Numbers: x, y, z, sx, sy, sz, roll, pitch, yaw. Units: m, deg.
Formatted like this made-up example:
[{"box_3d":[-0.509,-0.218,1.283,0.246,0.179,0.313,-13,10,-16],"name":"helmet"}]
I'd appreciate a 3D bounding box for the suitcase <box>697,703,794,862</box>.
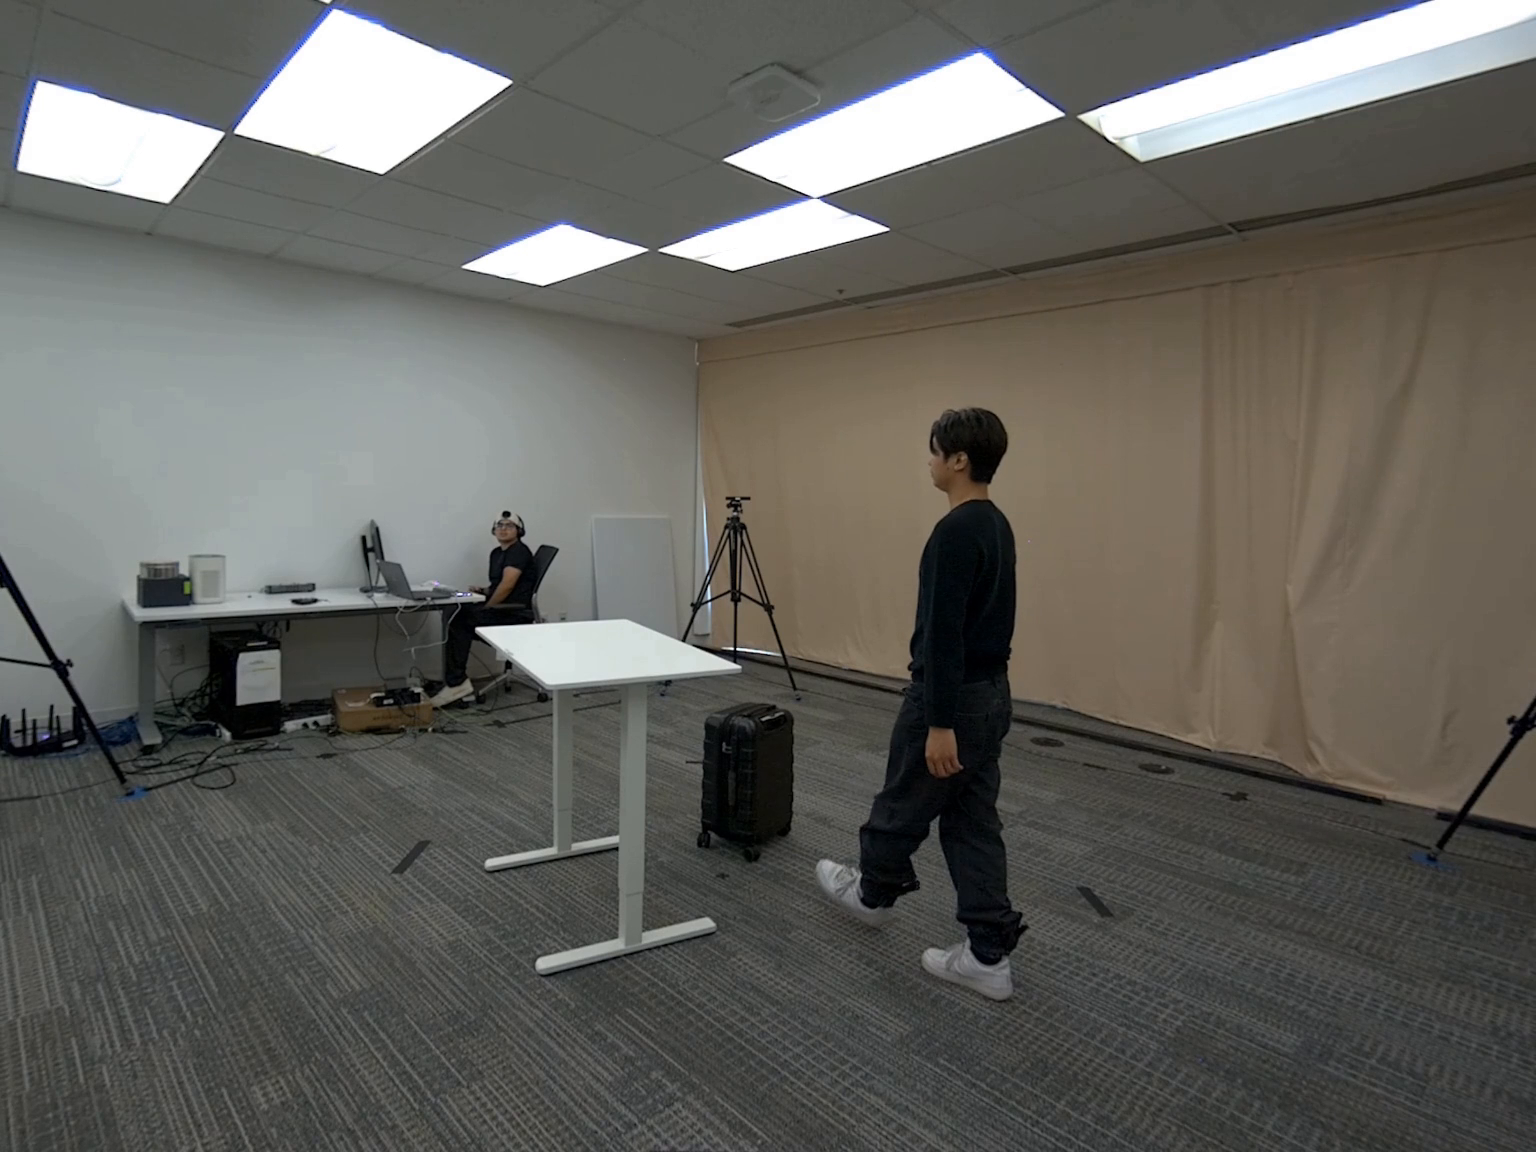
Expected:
[{"box_3d":[-0.087,0.802,3.425,0.254,0.548,0.367,3,3,34],"name":"suitcase"}]
